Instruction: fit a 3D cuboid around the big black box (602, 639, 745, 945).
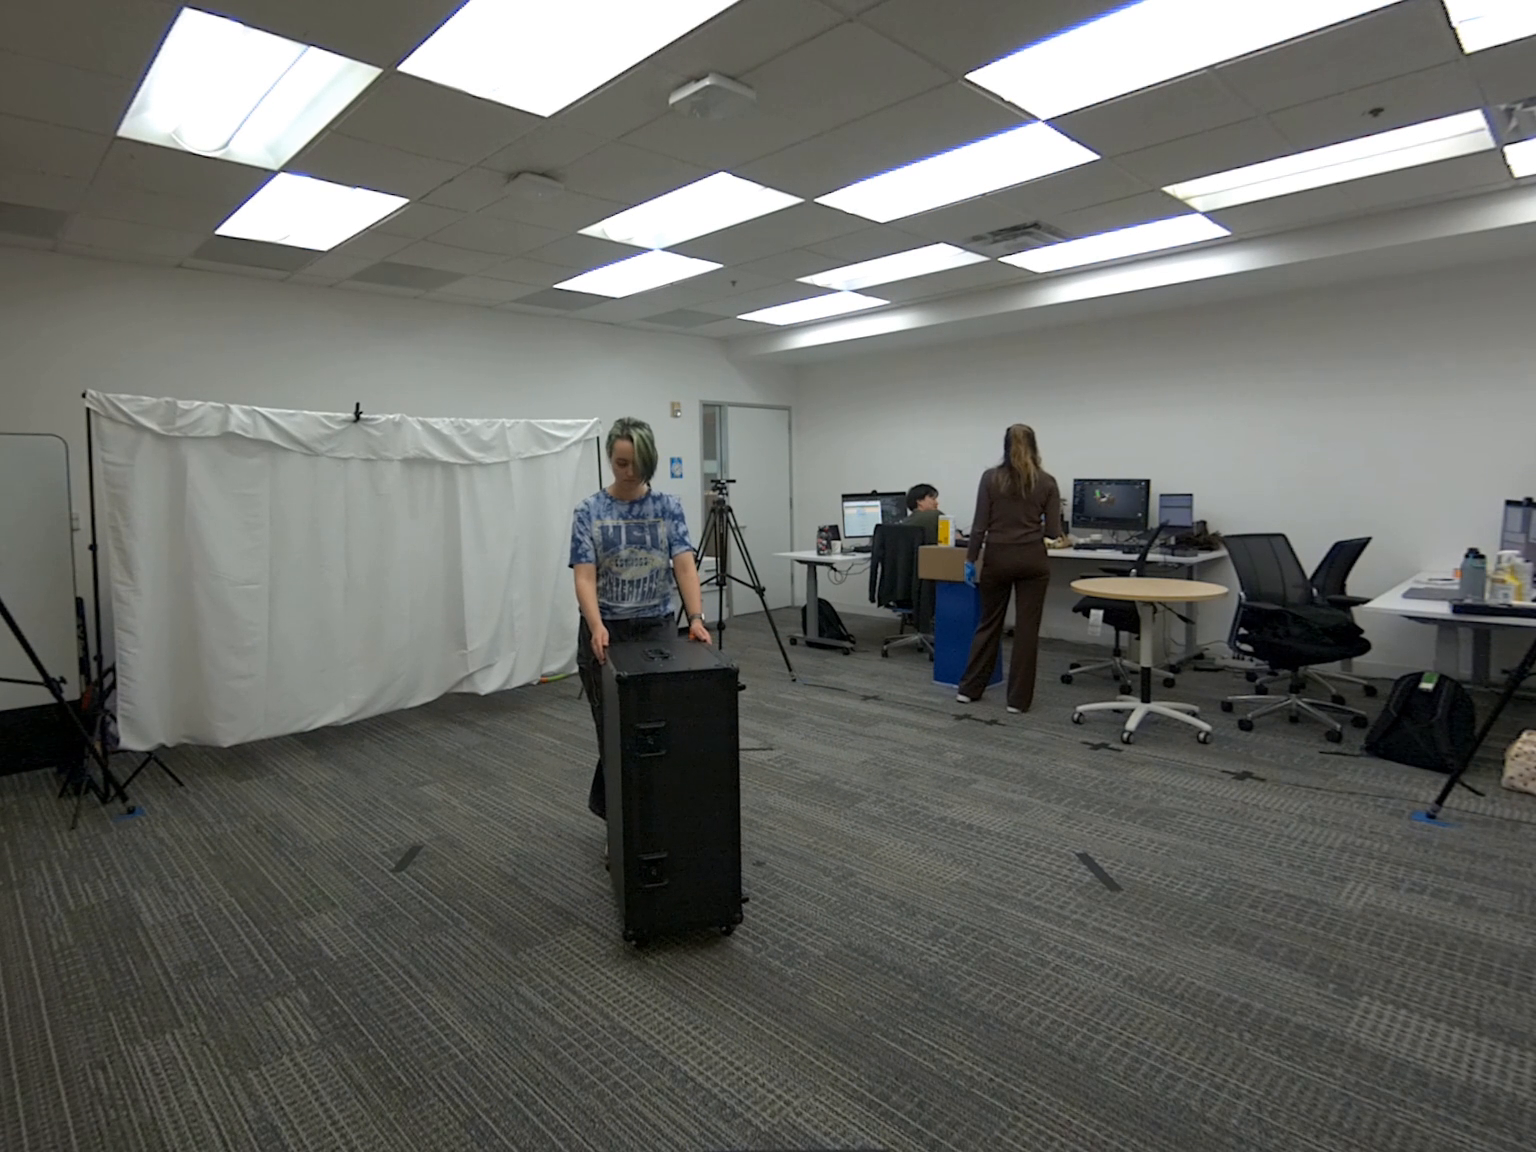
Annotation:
[{"bbox_3d":[-0.301,0.676,2.725,0.391,0.859,0.530,-2,4,-16],"label":"big black box"}]
